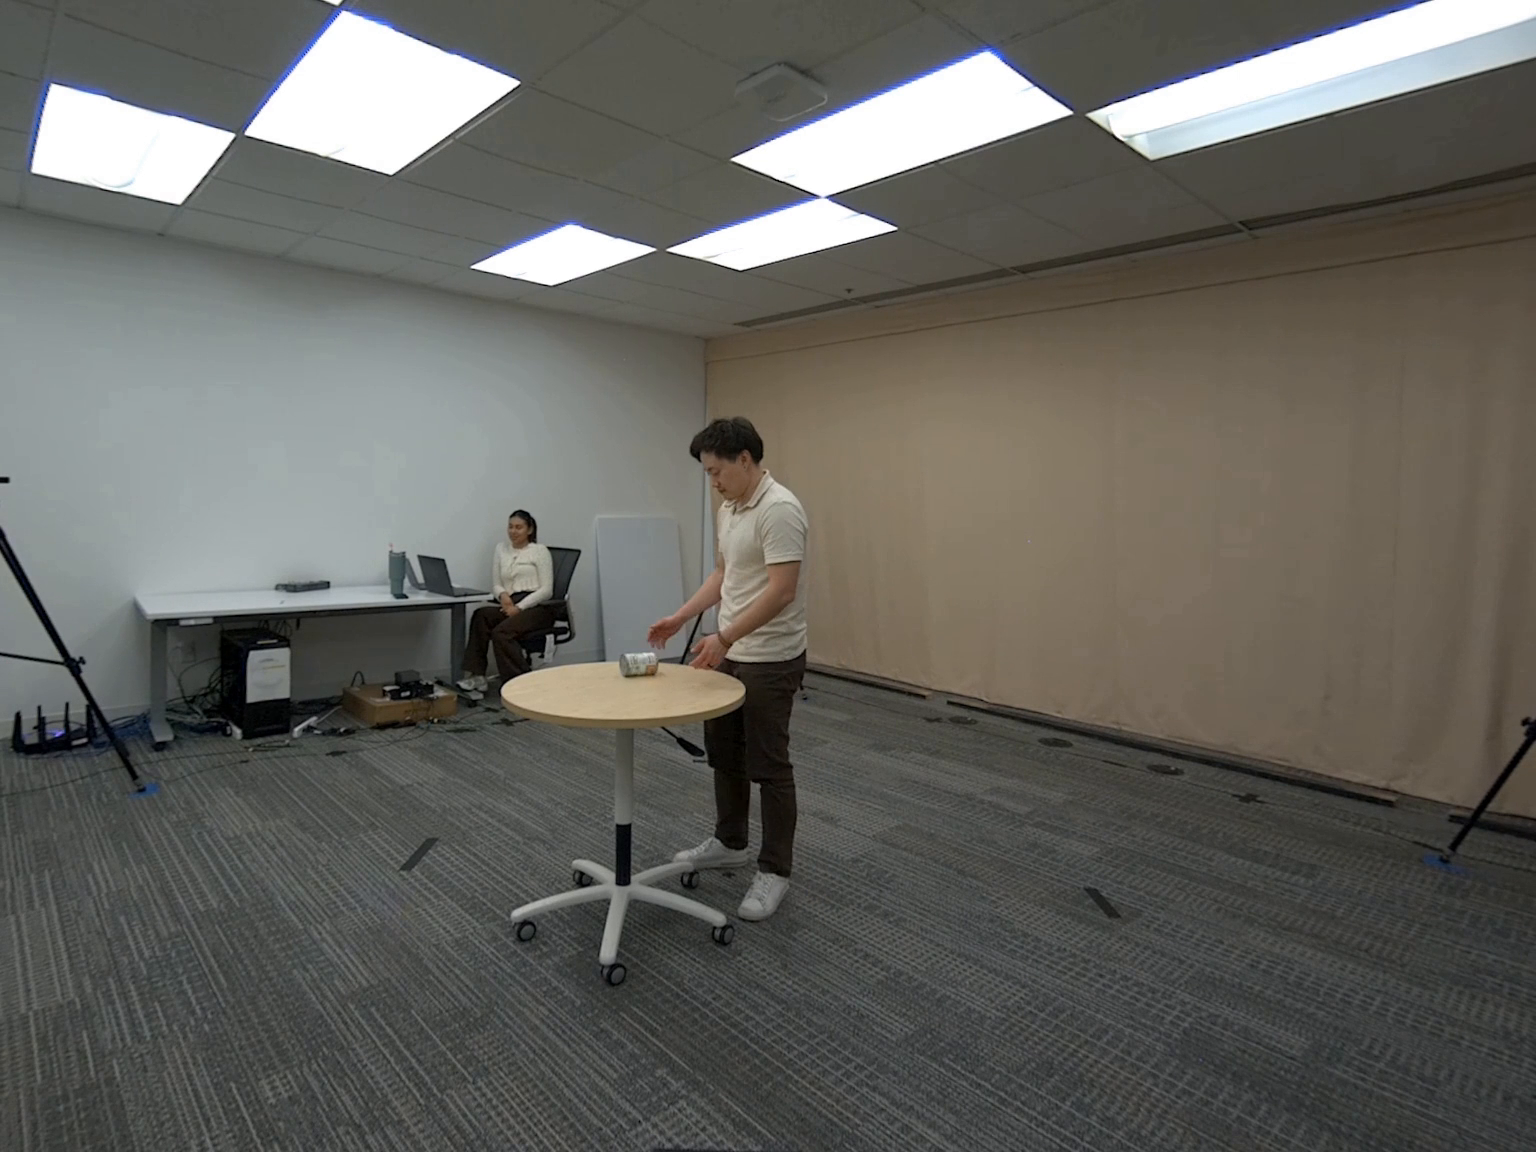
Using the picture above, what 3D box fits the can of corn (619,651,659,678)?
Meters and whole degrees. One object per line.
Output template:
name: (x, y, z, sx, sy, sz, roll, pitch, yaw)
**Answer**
can of corn: (-0.445, 0.297, 2.833, 0.109, 0.074, 0.076, -1, 5, -29)
